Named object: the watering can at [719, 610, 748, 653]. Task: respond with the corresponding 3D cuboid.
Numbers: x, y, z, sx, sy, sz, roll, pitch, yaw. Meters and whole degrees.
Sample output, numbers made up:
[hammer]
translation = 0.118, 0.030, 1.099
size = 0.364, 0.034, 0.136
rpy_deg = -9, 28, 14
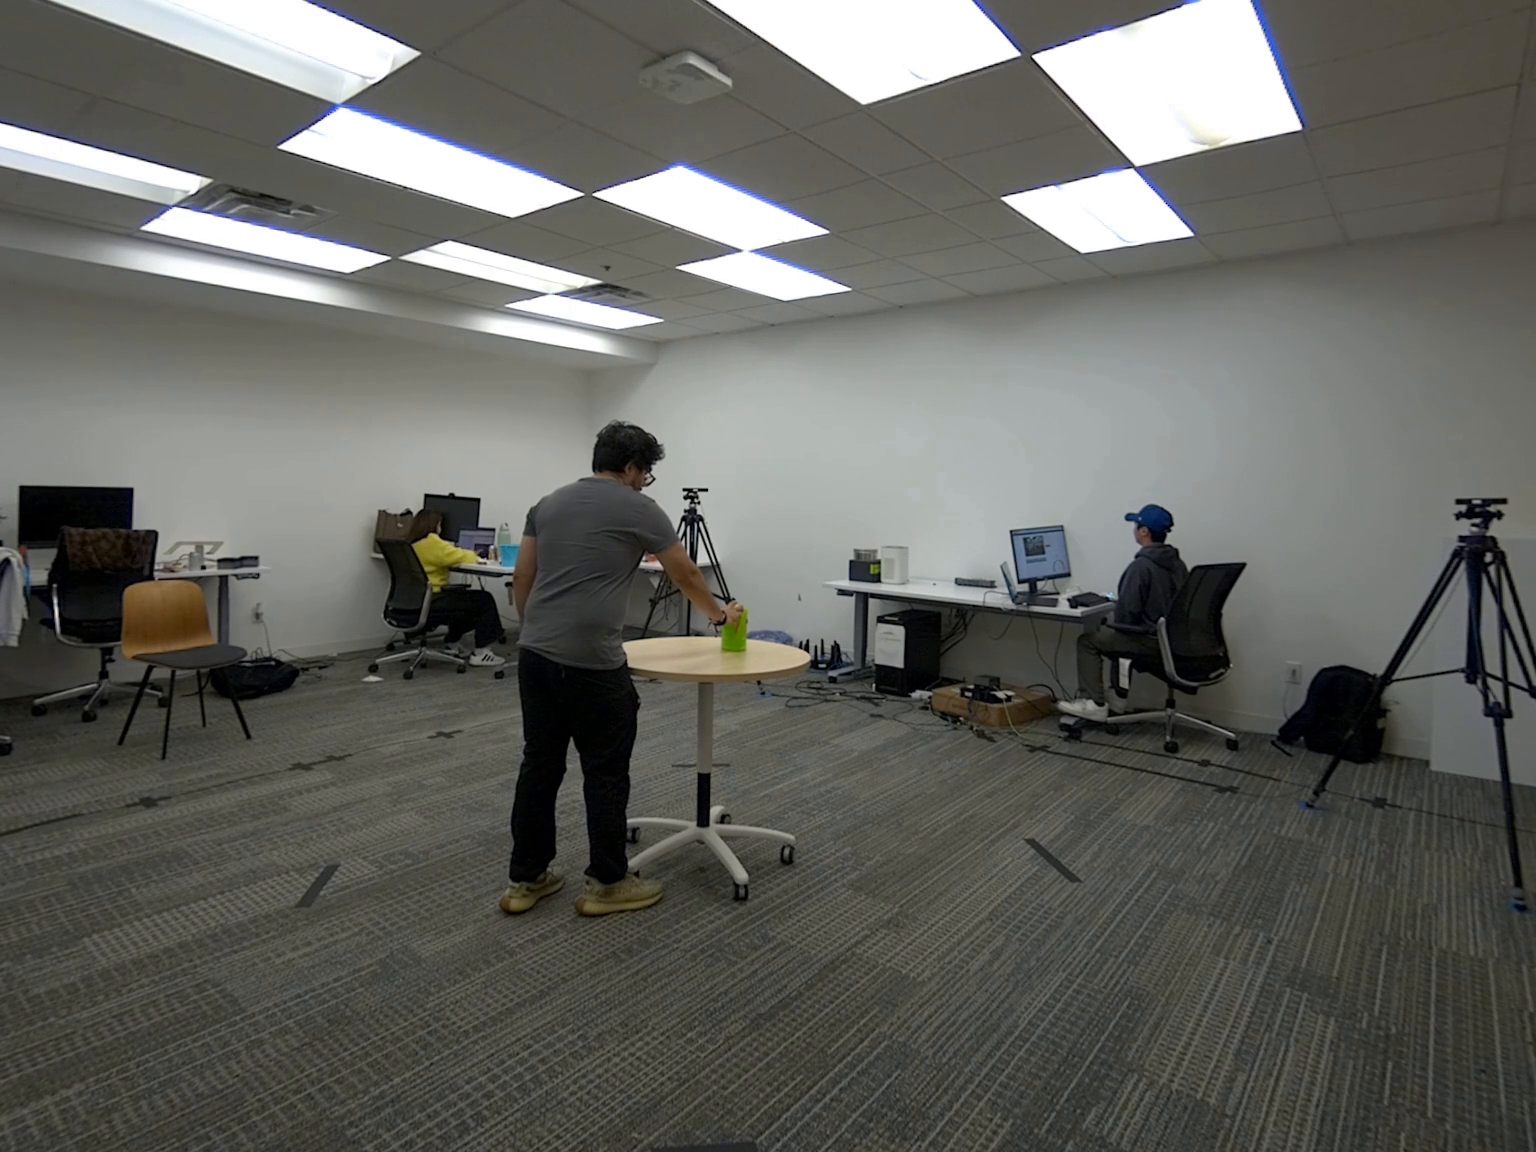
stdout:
[watering can]
translation = -0.134, 0.195, 3.210
size = 0.097, 0.177, 0.280
rpy_deg = 1, 2, -6
